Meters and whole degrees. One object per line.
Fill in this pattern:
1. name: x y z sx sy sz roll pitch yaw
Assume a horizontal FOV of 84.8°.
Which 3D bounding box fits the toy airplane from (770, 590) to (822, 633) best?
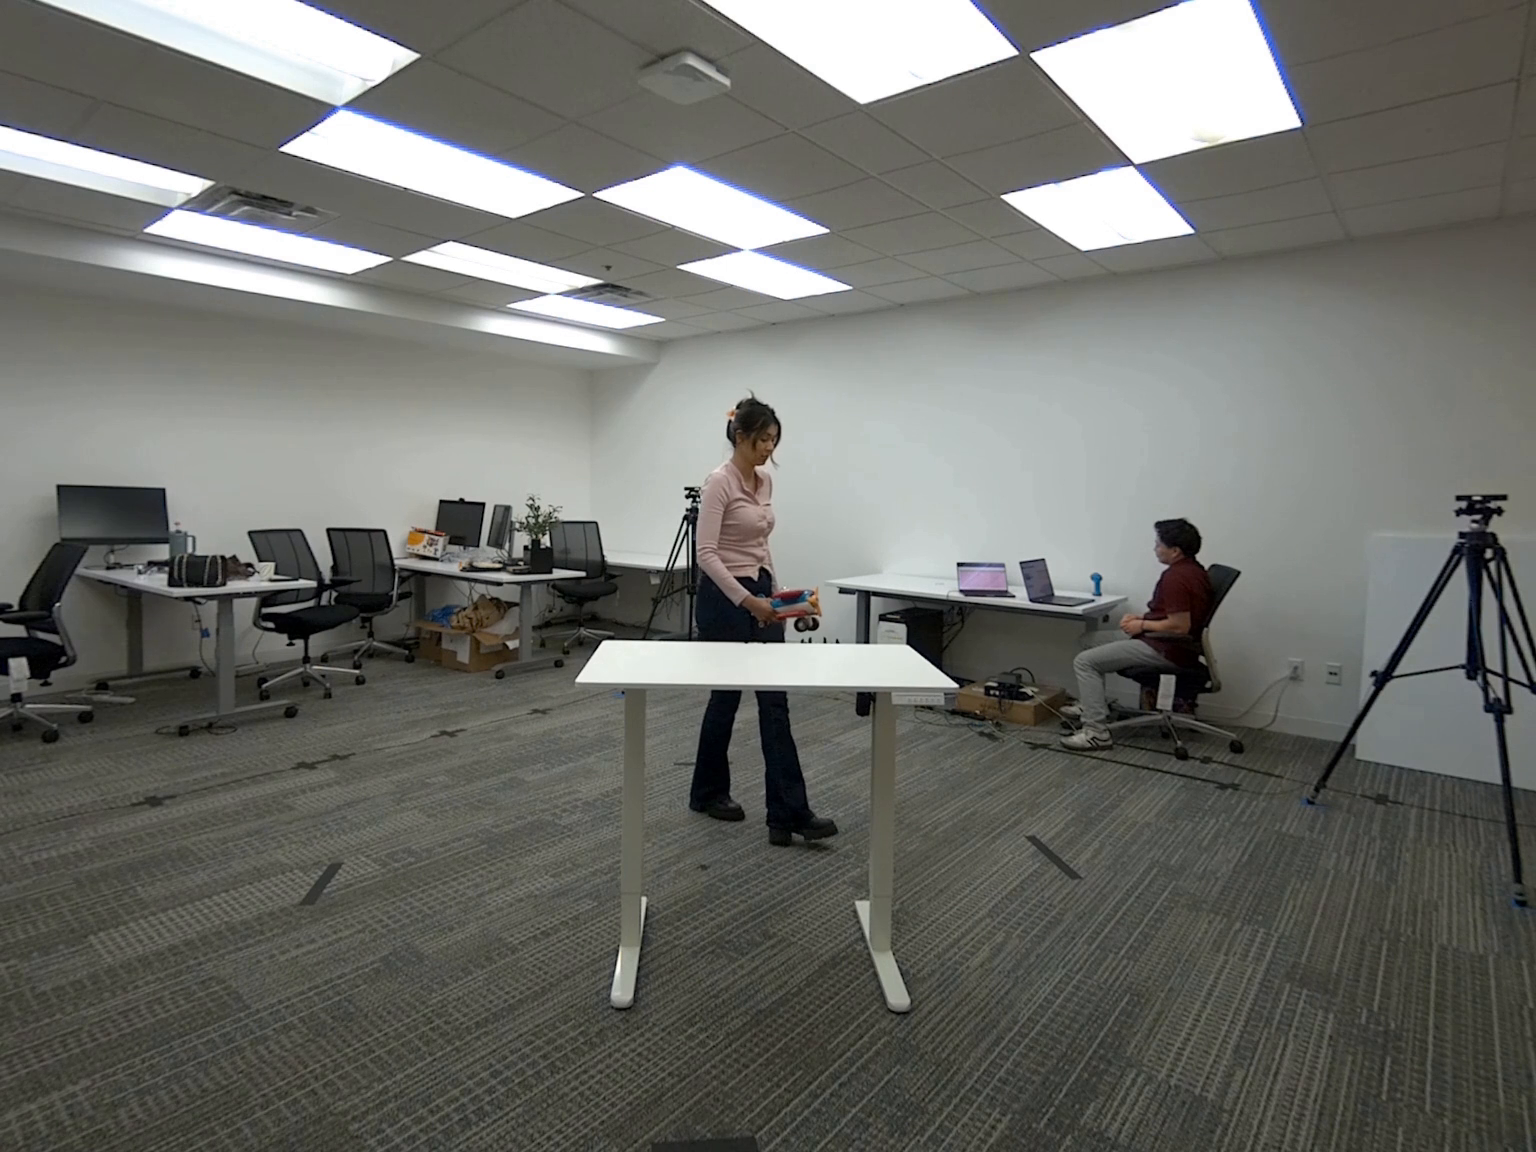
1. toy airplane: 0.056 0.125 3.197 0.261 0.156 0.250 3 2 4
